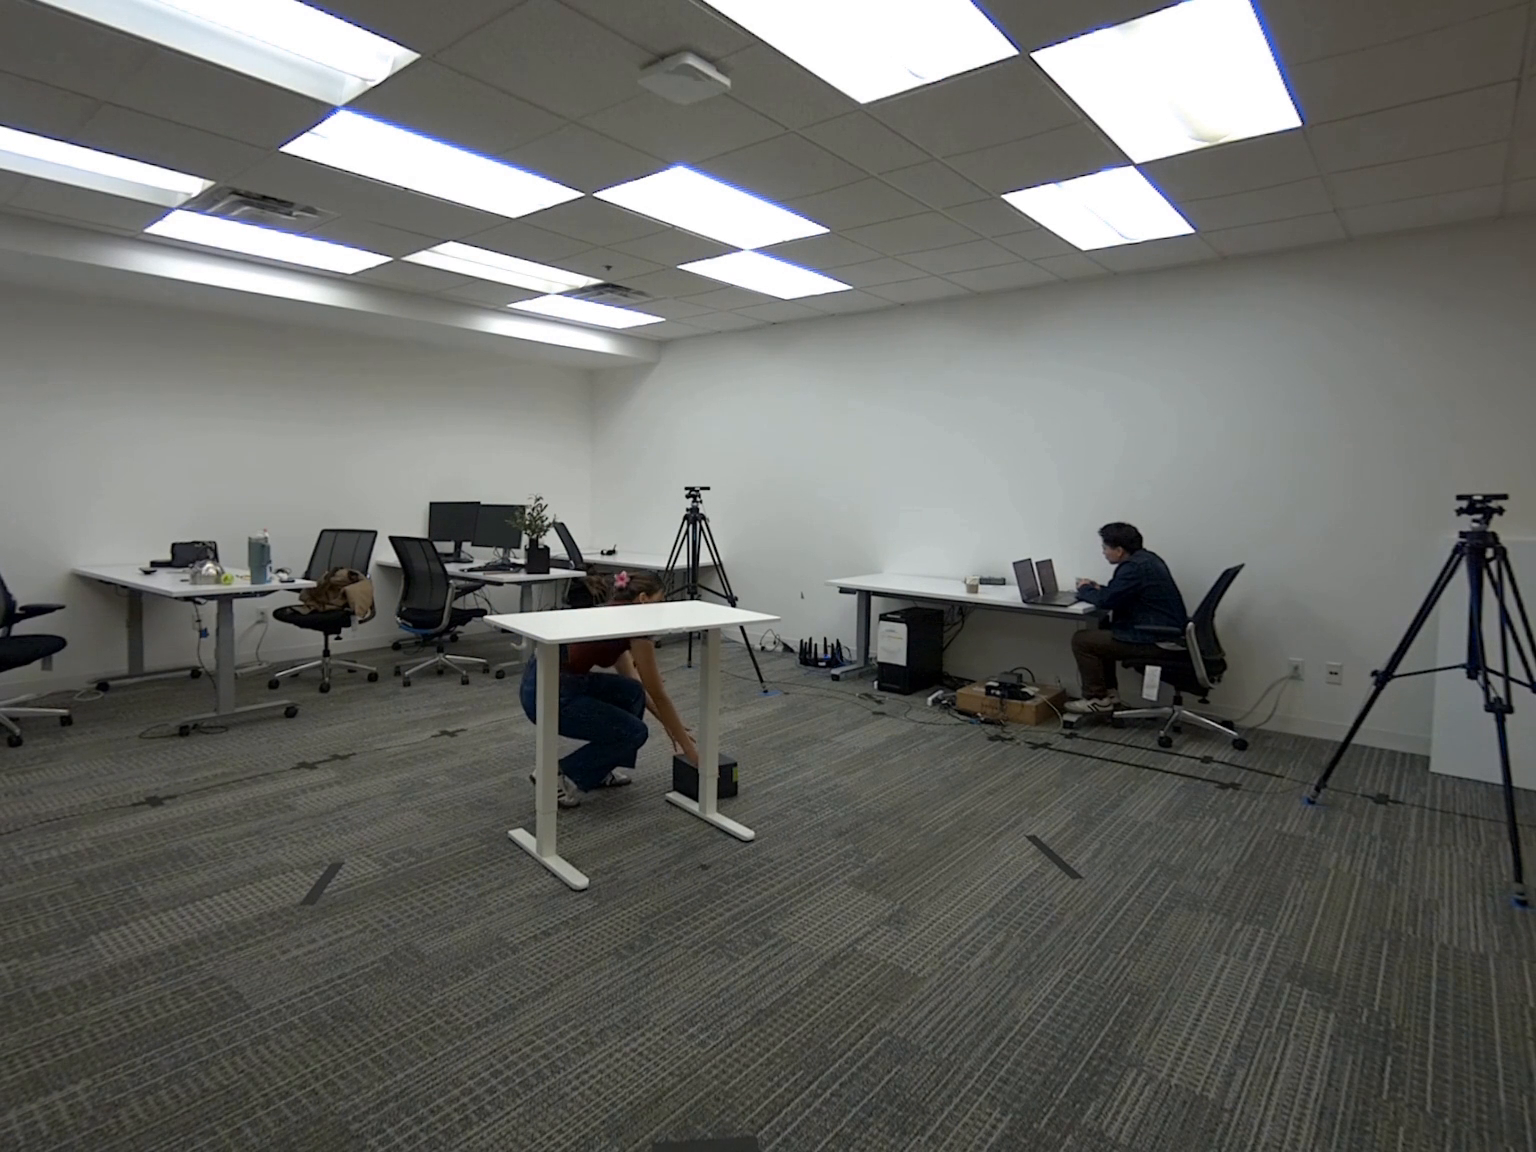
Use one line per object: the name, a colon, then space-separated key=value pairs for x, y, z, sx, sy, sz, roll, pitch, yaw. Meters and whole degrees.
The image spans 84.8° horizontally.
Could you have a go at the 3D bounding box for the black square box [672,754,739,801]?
black square box: x=-0.295 y=0.905 z=3.881 sx=0.211 sy=0.155 sz=0.235 roll=-3 pitch=5 yaw=-33
